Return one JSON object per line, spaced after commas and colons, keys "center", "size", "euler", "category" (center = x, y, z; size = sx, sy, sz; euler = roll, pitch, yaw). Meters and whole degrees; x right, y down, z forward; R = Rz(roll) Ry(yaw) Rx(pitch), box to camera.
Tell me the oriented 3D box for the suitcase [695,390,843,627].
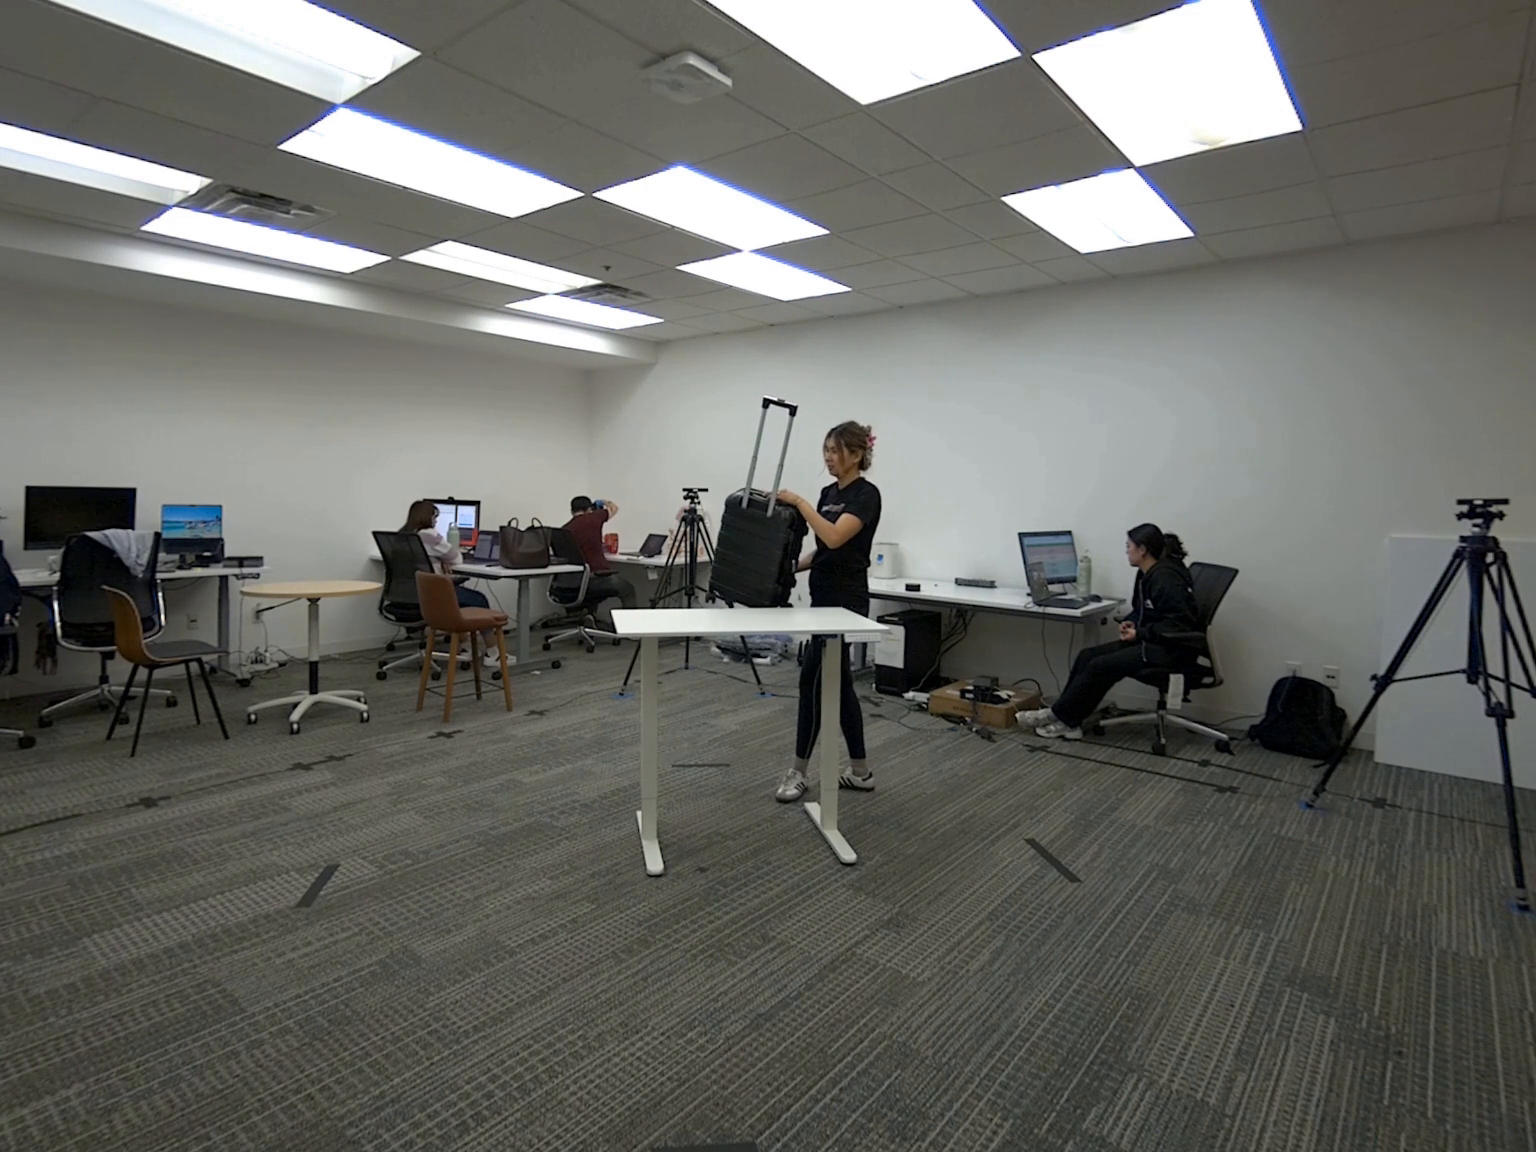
{"center": [-0.010, -0.316, 3.827], "size": [0.397, 0.967, 0.251], "euler": [23, 19, 28], "category": "suitcase"}
